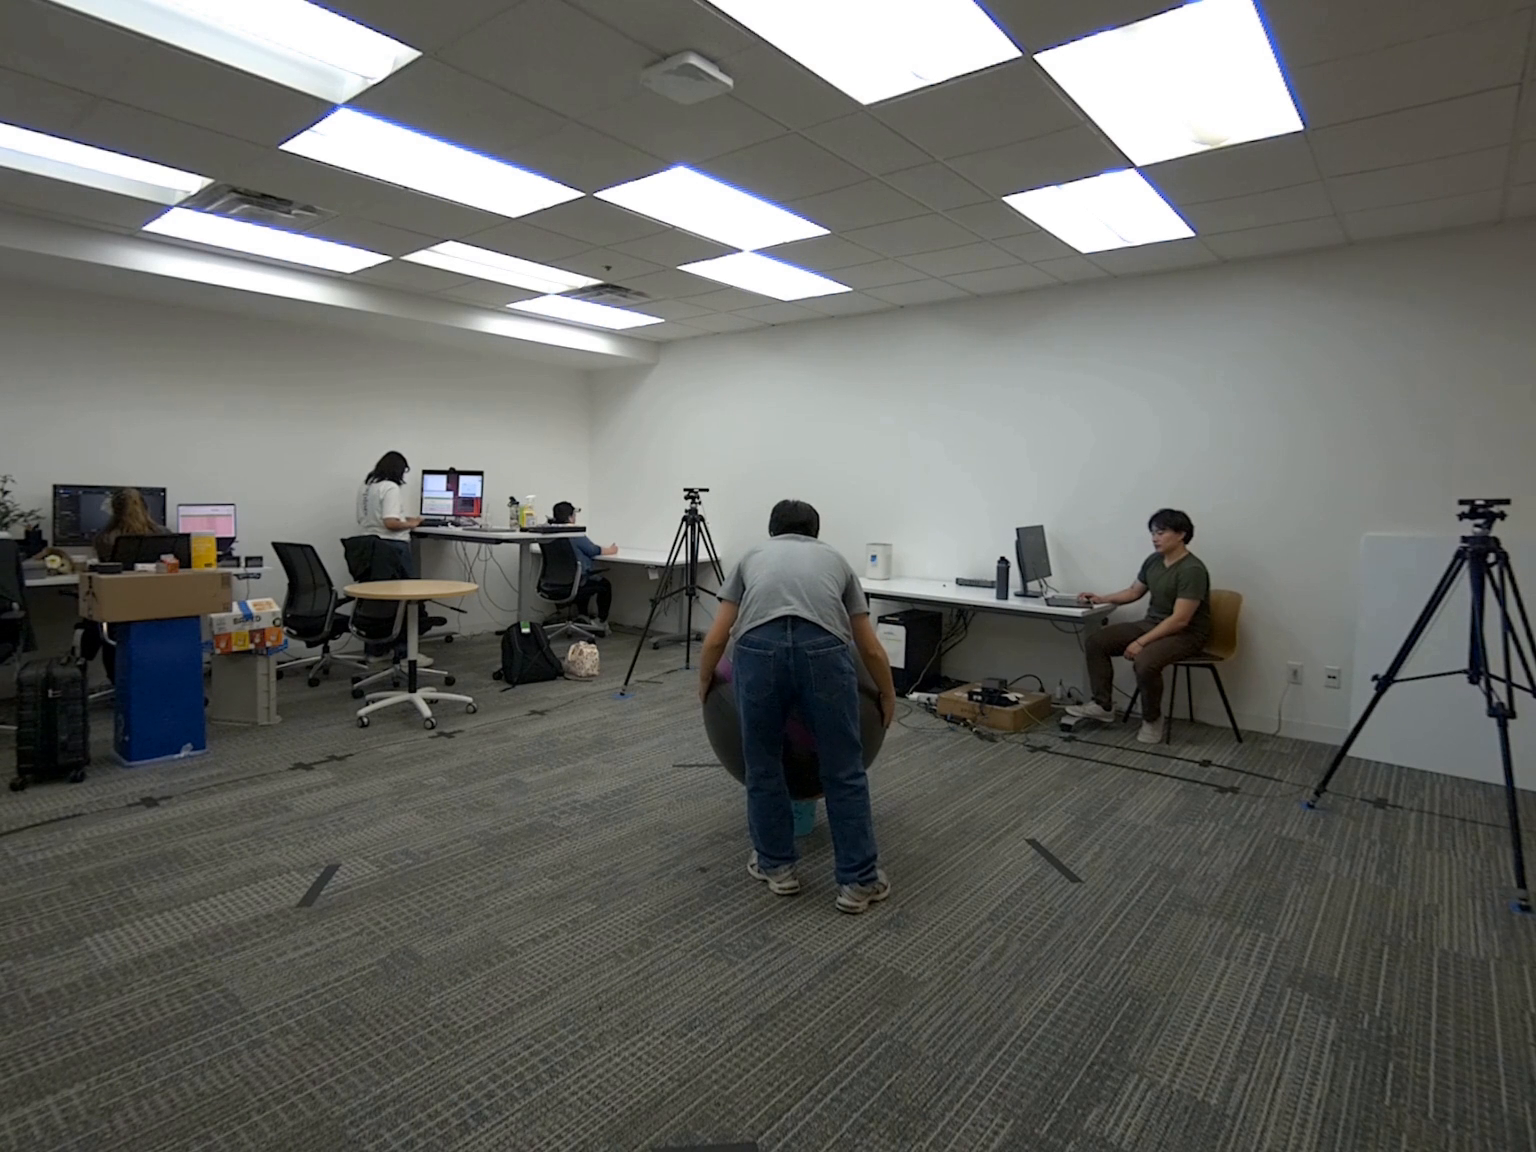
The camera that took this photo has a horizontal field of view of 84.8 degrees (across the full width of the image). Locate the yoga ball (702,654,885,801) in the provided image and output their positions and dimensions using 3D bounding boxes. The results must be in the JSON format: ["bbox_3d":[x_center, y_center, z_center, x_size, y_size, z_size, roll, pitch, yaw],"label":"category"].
[{"bbox_3d":[0.102,0.531,3.501,0.757,0.756,0.761,1,4,-2],"label":"yoga ball"}]
